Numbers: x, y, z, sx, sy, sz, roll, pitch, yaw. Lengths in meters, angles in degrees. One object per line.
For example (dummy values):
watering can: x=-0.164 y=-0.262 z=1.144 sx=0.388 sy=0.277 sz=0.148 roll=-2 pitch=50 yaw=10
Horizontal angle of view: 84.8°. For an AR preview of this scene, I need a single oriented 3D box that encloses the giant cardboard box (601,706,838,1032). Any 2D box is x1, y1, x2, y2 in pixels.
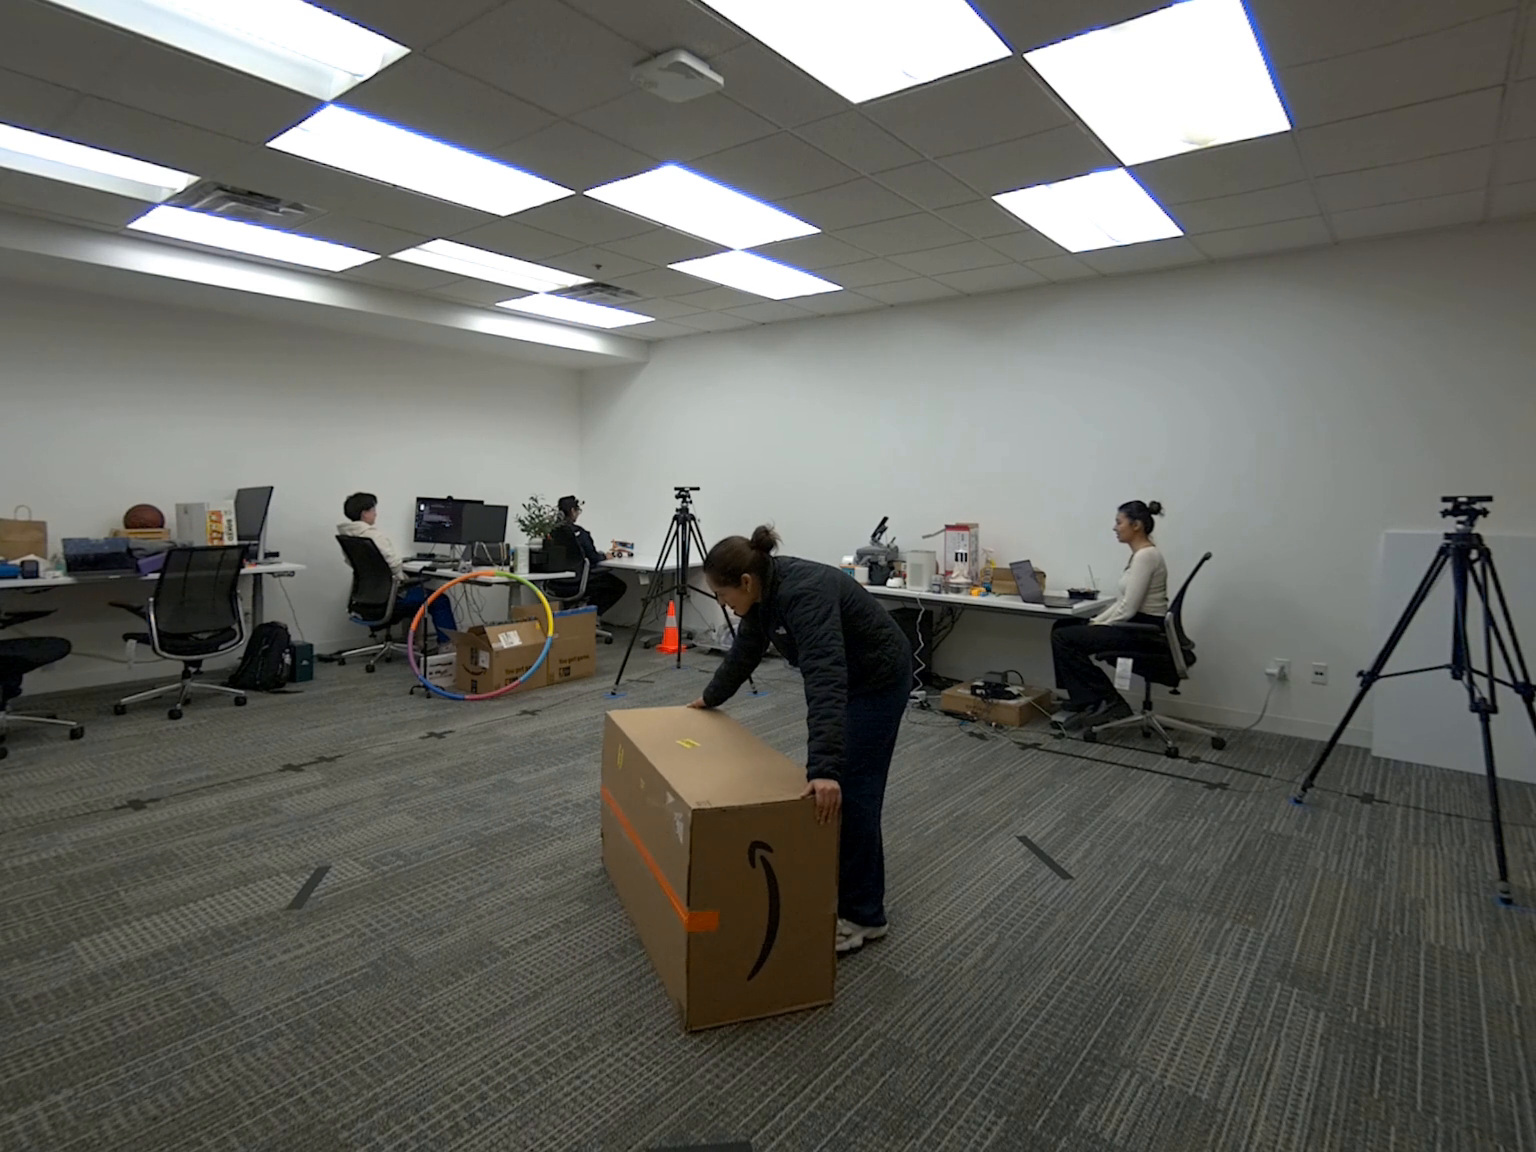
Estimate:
giant cardboard box: x=-0.200 y=0.817 z=2.705 sx=0.437 sy=0.582 sz=1.052 roll=-1 pitch=5 yaw=-22
